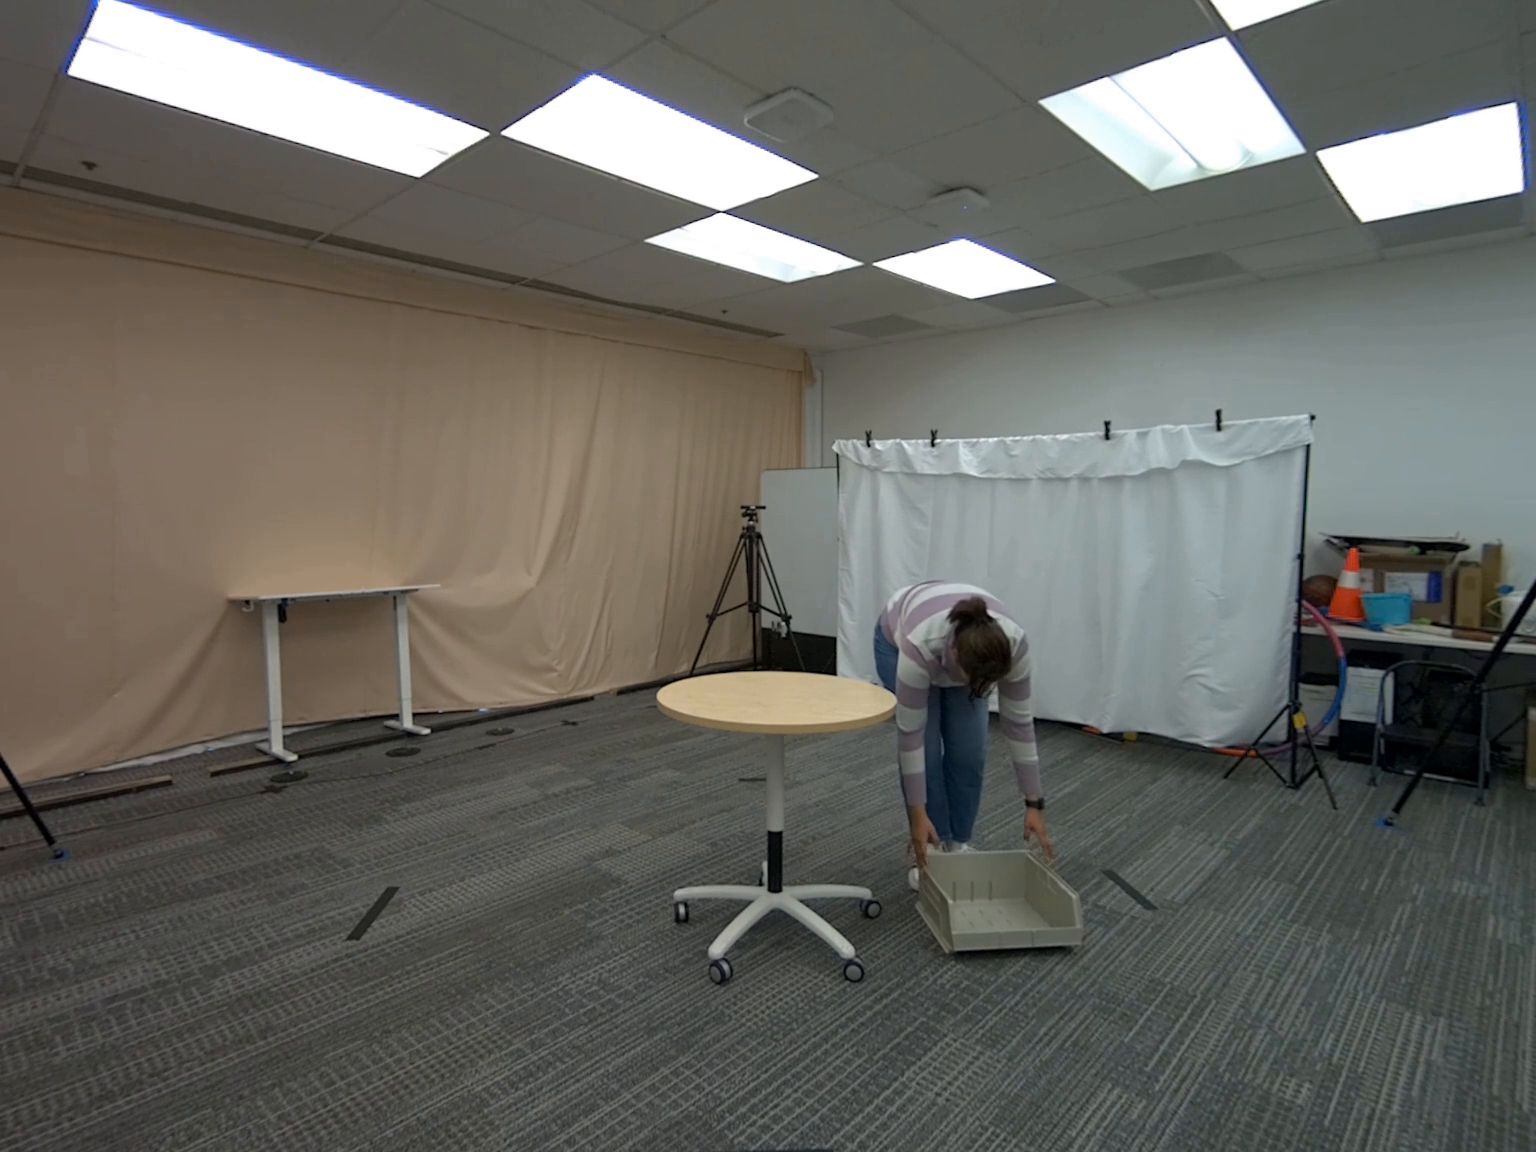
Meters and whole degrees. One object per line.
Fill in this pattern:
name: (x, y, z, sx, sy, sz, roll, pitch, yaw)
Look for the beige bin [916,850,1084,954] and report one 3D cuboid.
beige bin: (0.740, 1.065, 2.762, 0.420, 0.188, 0.380, -1, 4, -6)
